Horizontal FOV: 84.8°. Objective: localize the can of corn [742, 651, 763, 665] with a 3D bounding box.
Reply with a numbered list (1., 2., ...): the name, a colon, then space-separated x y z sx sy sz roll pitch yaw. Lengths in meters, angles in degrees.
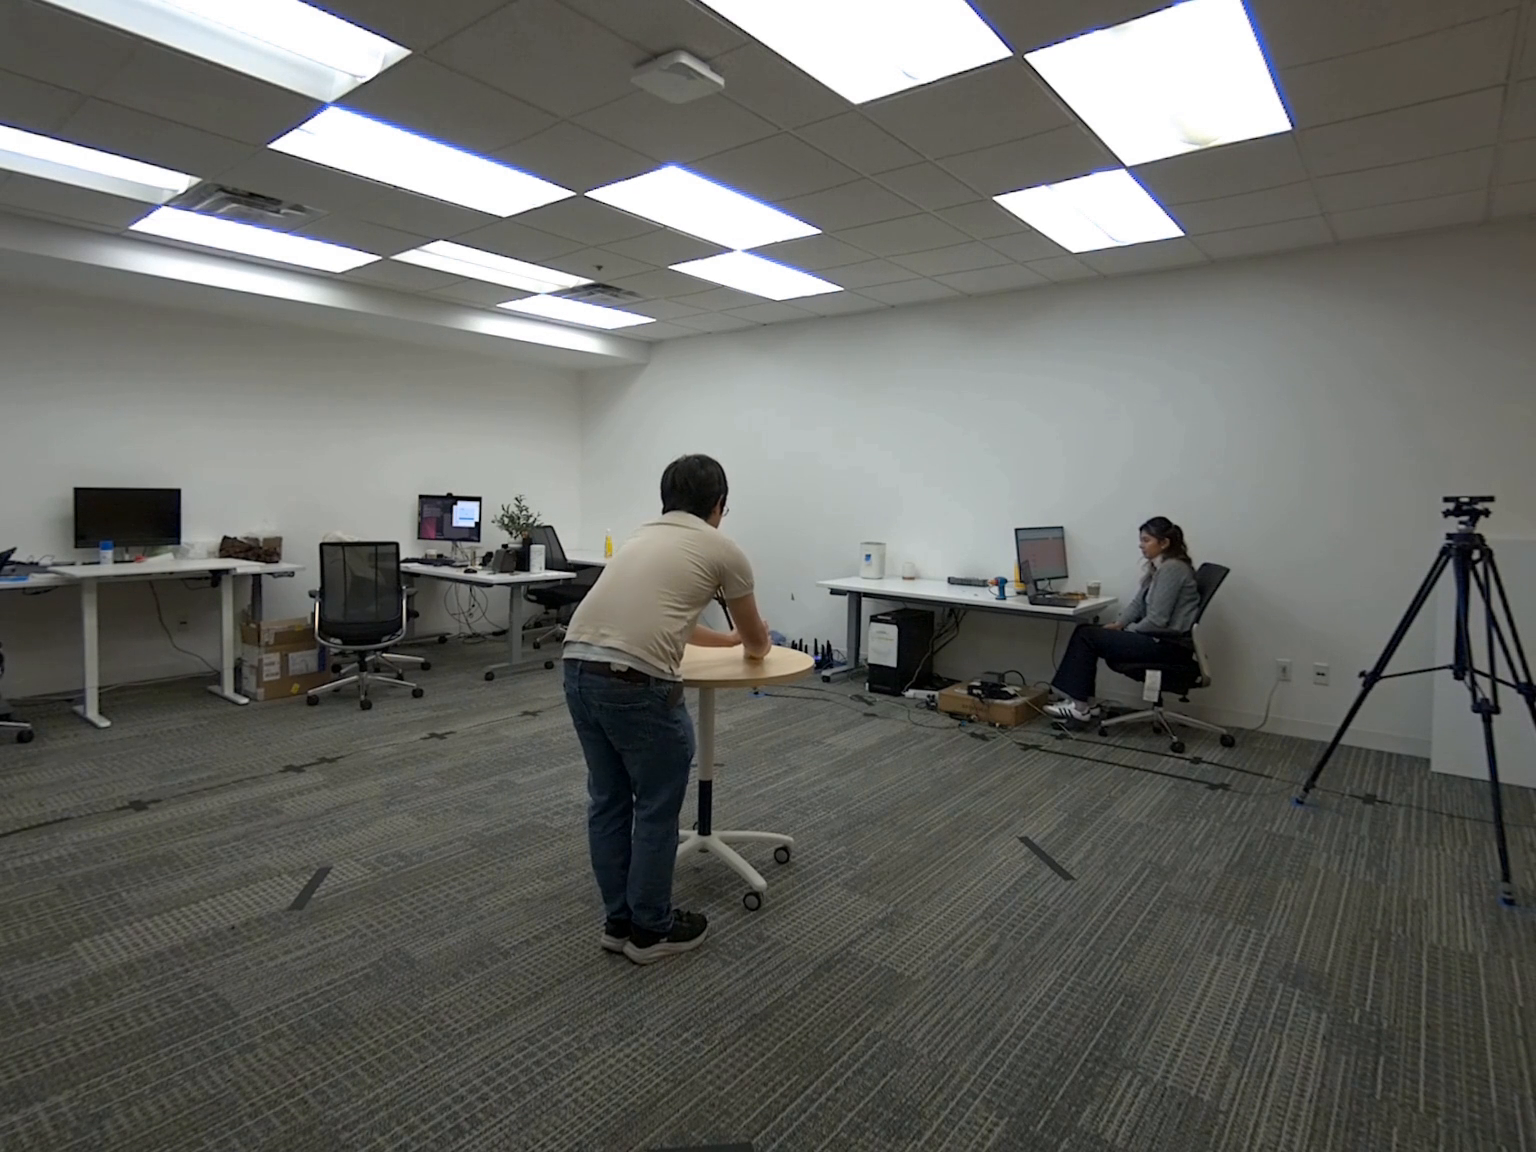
1. can of corn: -0.061 0.236 3.068 0.074 0.111 0.074 2 4 -2
